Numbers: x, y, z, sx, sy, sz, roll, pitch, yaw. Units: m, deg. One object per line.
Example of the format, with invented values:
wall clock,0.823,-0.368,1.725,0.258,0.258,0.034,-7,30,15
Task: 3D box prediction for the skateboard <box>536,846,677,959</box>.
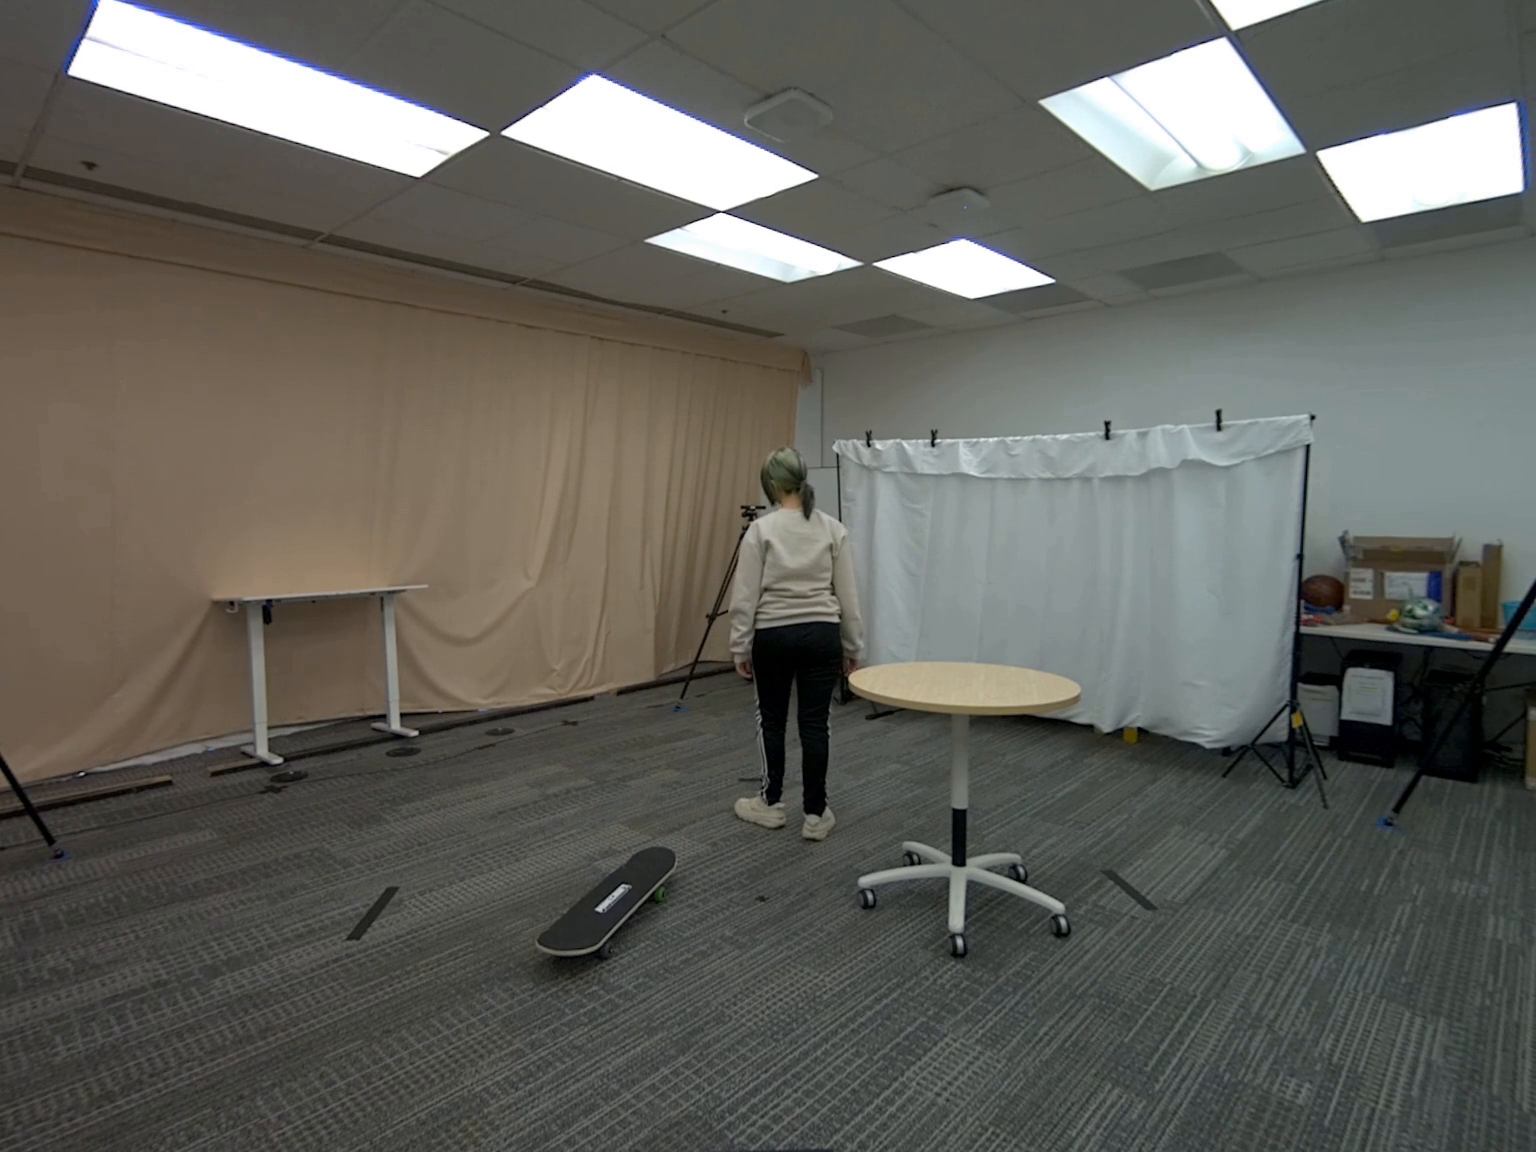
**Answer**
skateboard,-0.517,1.105,2.803,0.197,0.110,0.771,1,5,18
